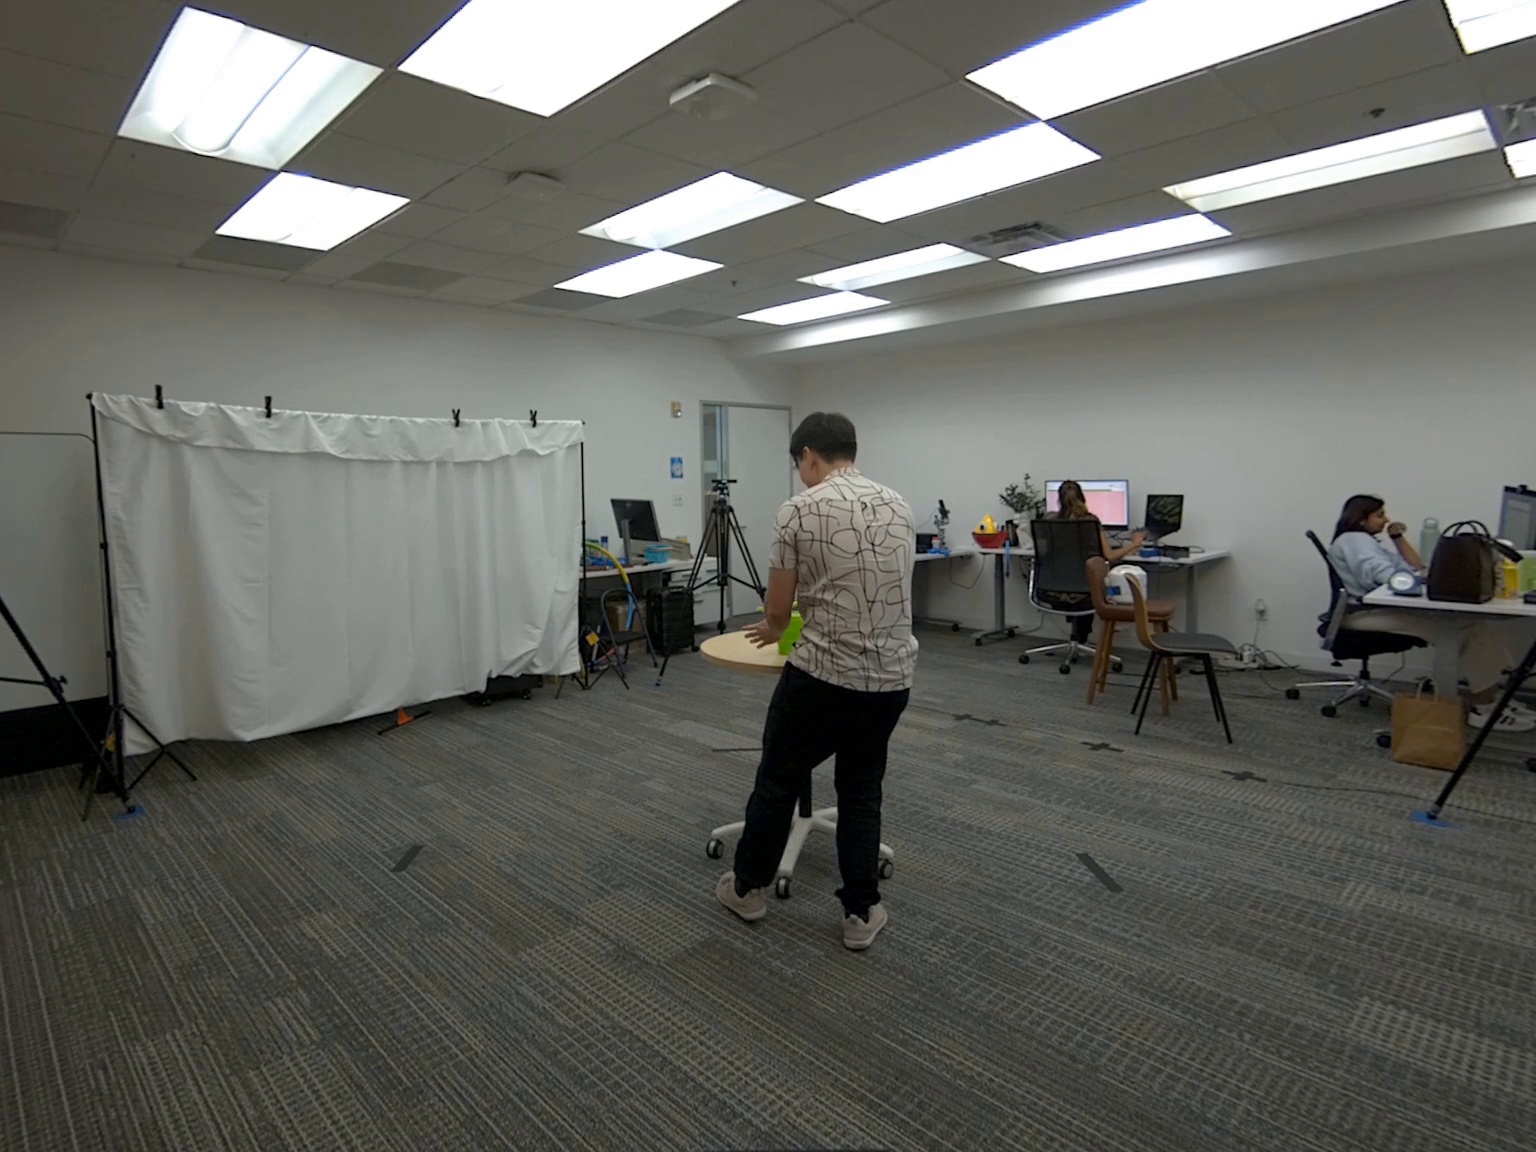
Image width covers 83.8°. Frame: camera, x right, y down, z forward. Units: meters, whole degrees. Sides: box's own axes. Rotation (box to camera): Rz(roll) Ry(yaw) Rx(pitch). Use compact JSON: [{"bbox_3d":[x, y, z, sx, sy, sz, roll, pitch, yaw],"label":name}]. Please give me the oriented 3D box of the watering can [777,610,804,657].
[{"bbox_3d":[0.067,0.188,3.004,0.271,0.177,0.100,-3,2,-33],"label":"watering can"}]
